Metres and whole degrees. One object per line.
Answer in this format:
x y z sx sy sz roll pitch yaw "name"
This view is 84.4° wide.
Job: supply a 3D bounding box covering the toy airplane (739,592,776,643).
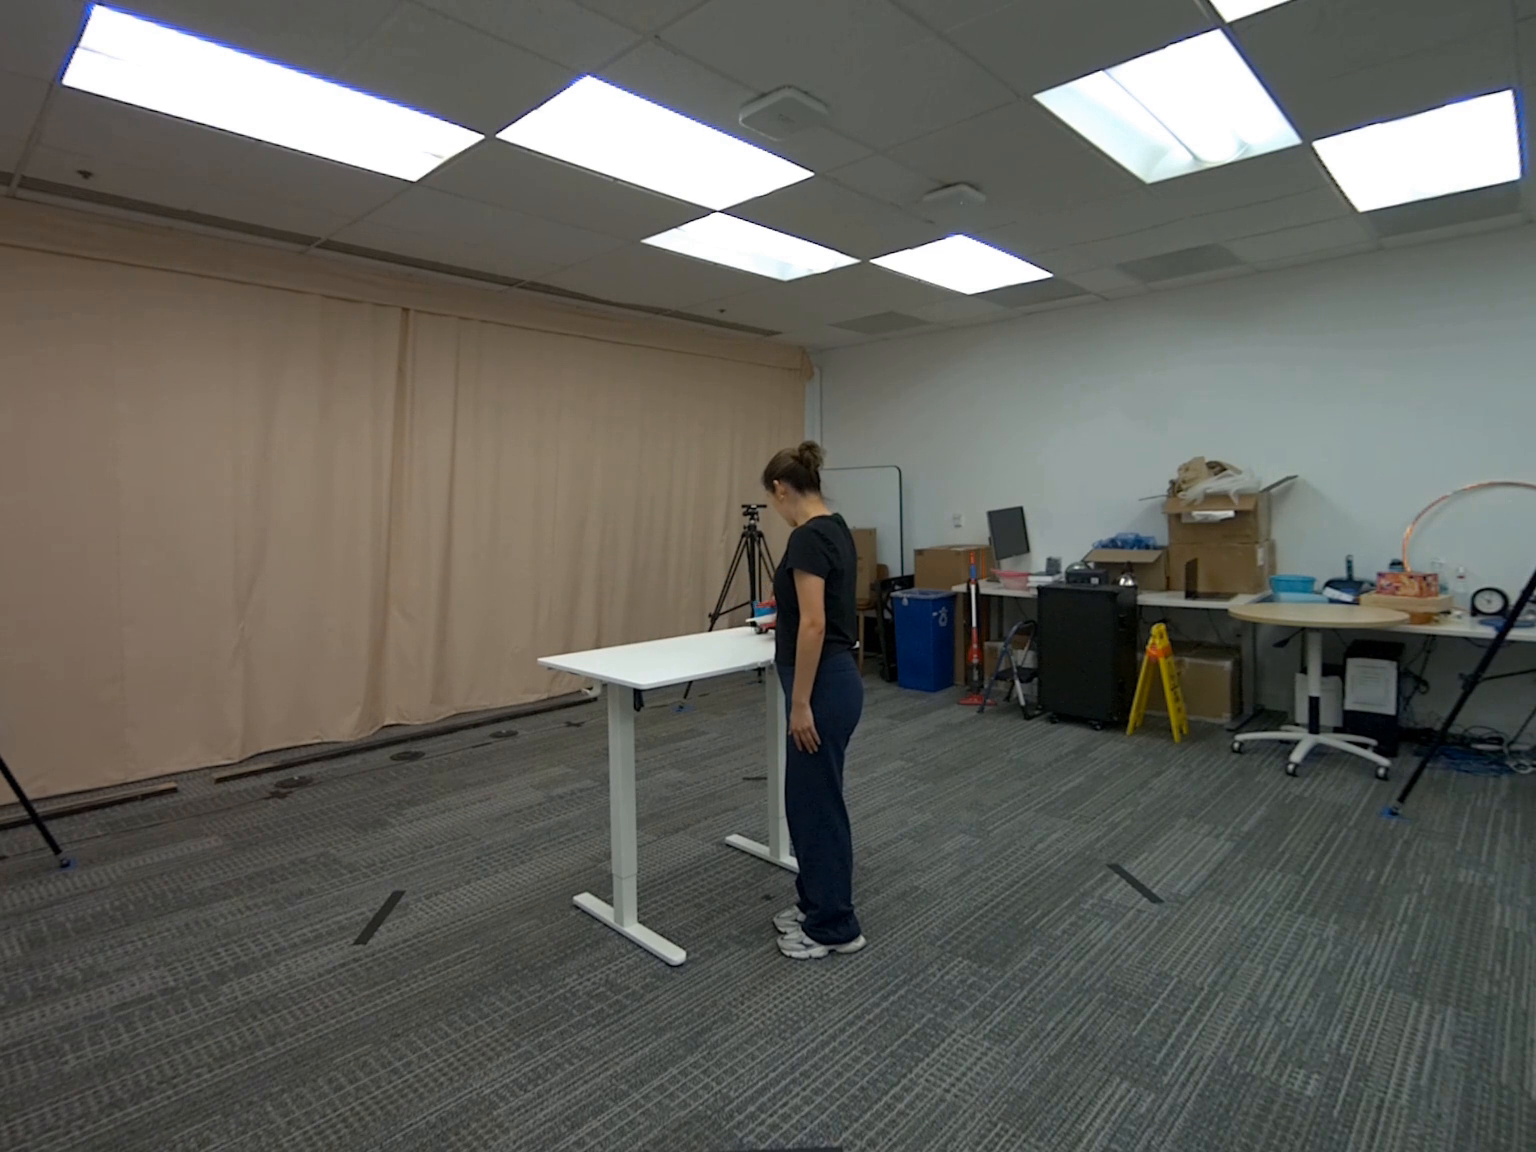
0.052 0.156 3.252 0.264 0.156 0.247 2 5 17 "toy airplane"
